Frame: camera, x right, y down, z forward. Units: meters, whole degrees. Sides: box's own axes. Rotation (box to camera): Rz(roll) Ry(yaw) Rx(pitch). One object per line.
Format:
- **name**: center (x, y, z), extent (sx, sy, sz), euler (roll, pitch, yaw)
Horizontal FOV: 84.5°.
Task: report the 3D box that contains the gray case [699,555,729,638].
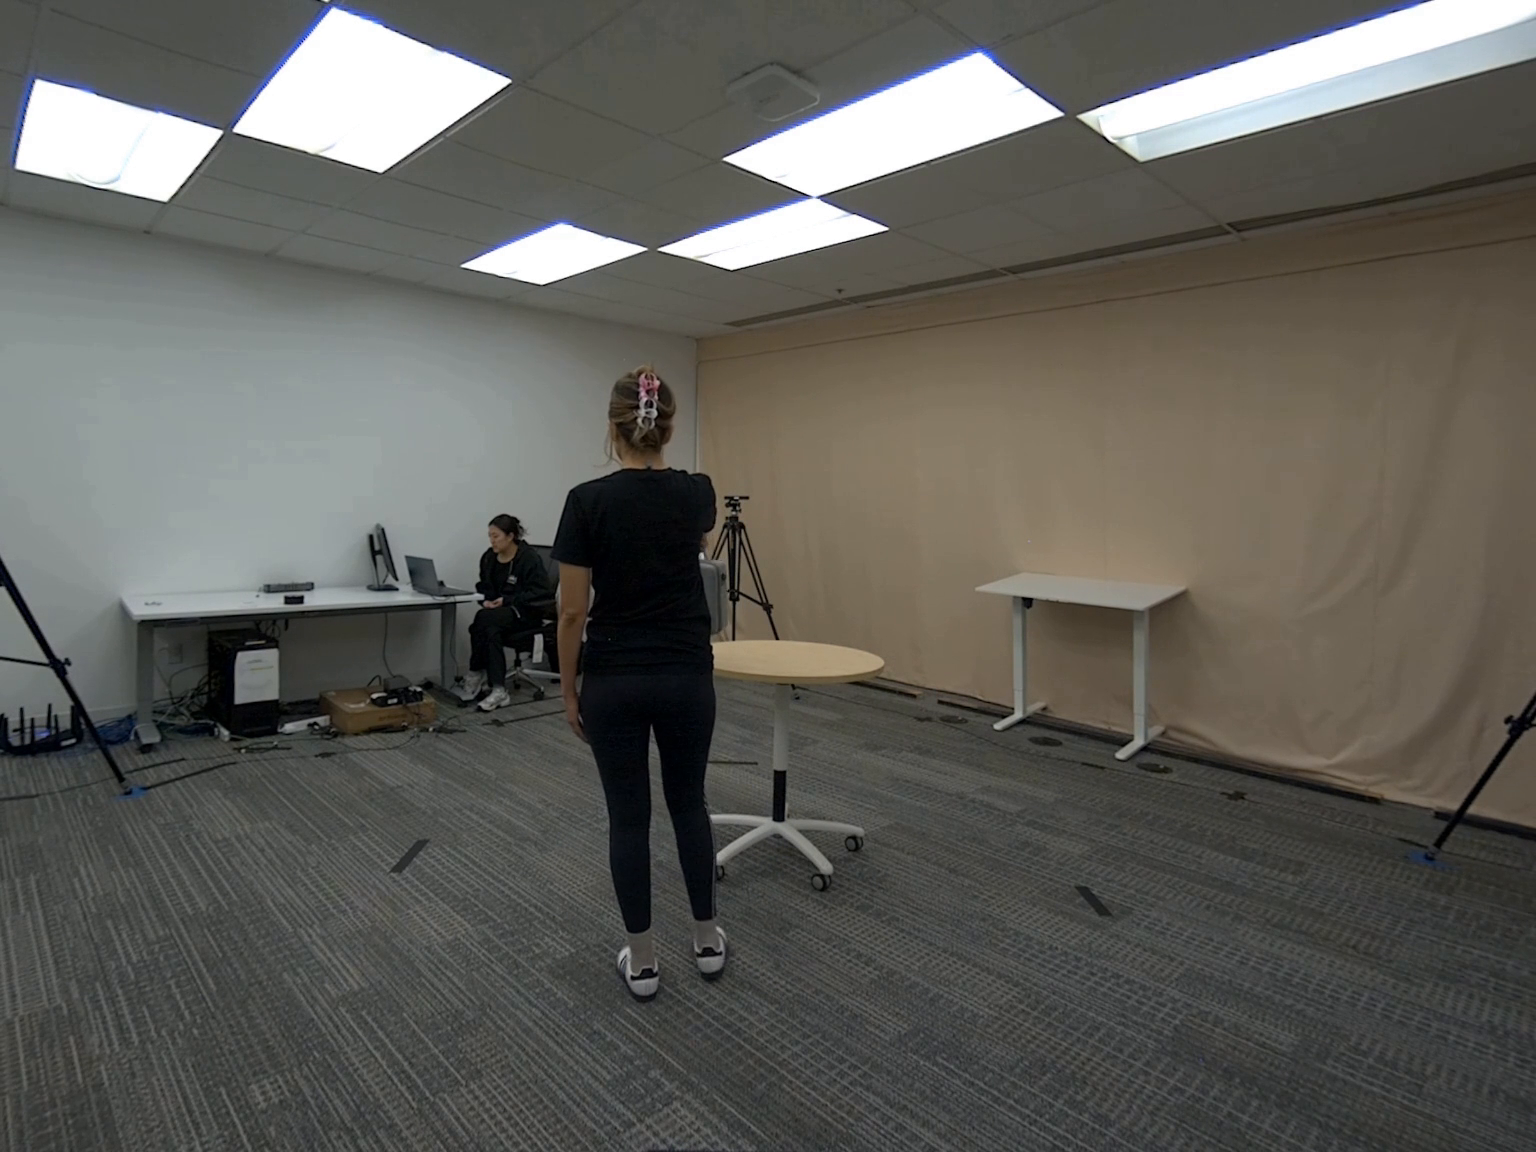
- **gray case**: center (-0.271, 0.064, 2.962), extent (0.262, 0.259, 0.103), euler (5, 11, 26)
